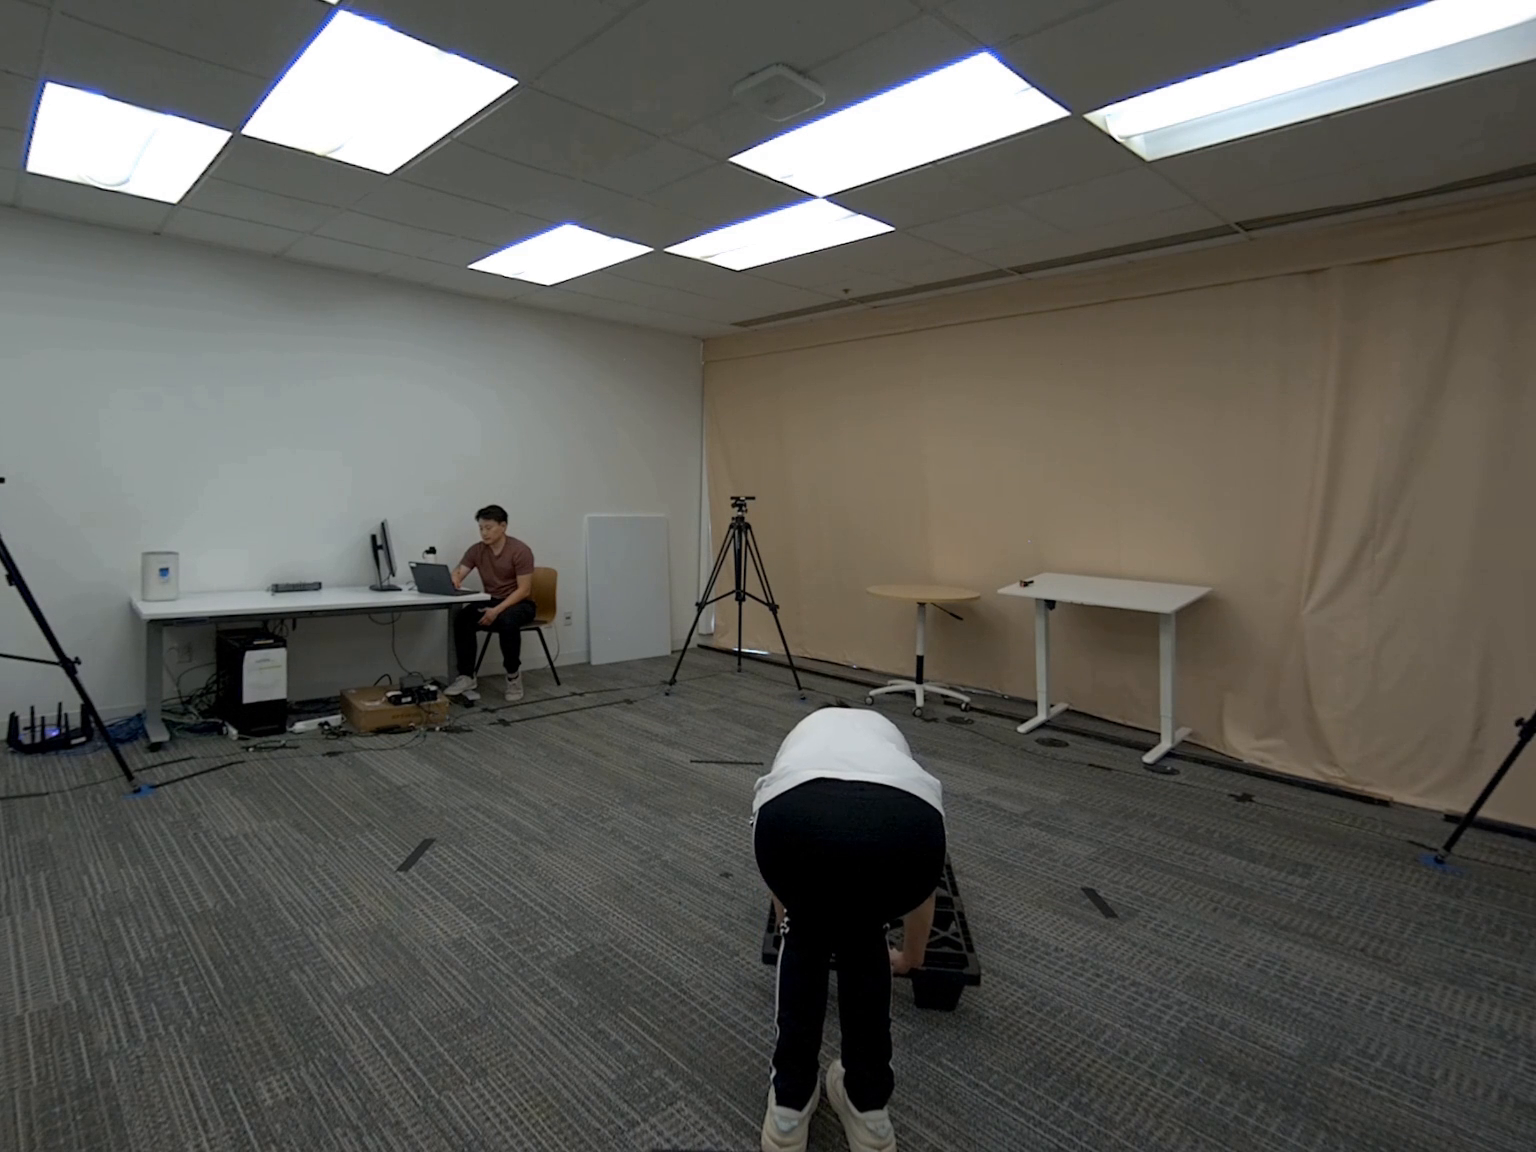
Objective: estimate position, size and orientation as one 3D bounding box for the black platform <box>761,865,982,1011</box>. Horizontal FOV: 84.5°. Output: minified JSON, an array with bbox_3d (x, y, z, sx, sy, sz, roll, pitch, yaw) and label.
[{"bbox_3d":[0.313,1.087,2.696,0.609,0.143,0.803,3,6,6],"label":"black platform"}]
